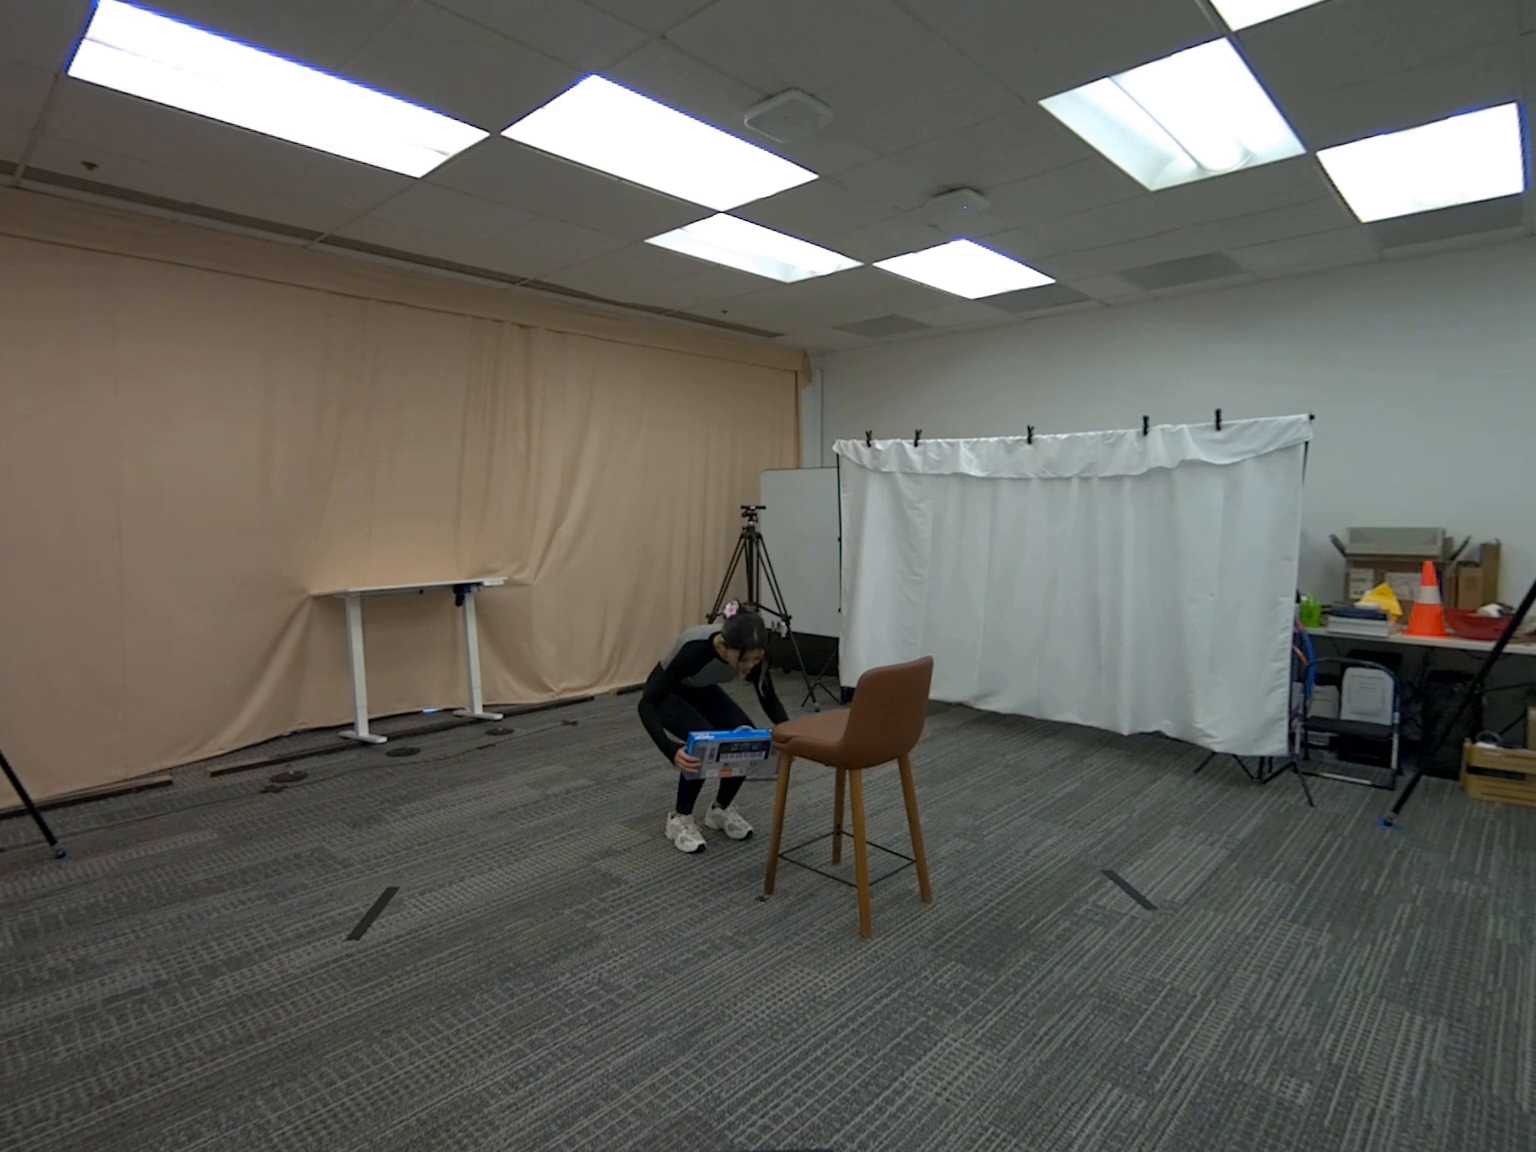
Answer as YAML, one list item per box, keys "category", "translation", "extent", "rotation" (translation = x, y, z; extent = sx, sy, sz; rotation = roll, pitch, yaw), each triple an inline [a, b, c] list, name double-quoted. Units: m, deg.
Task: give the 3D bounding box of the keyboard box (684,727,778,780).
- category: "keyboard box"
  translation: [-0.105, 0.684, 3.234]
  extent: [0.426, 0.175, 0.061]
  rotation: [3, 20, -26]
